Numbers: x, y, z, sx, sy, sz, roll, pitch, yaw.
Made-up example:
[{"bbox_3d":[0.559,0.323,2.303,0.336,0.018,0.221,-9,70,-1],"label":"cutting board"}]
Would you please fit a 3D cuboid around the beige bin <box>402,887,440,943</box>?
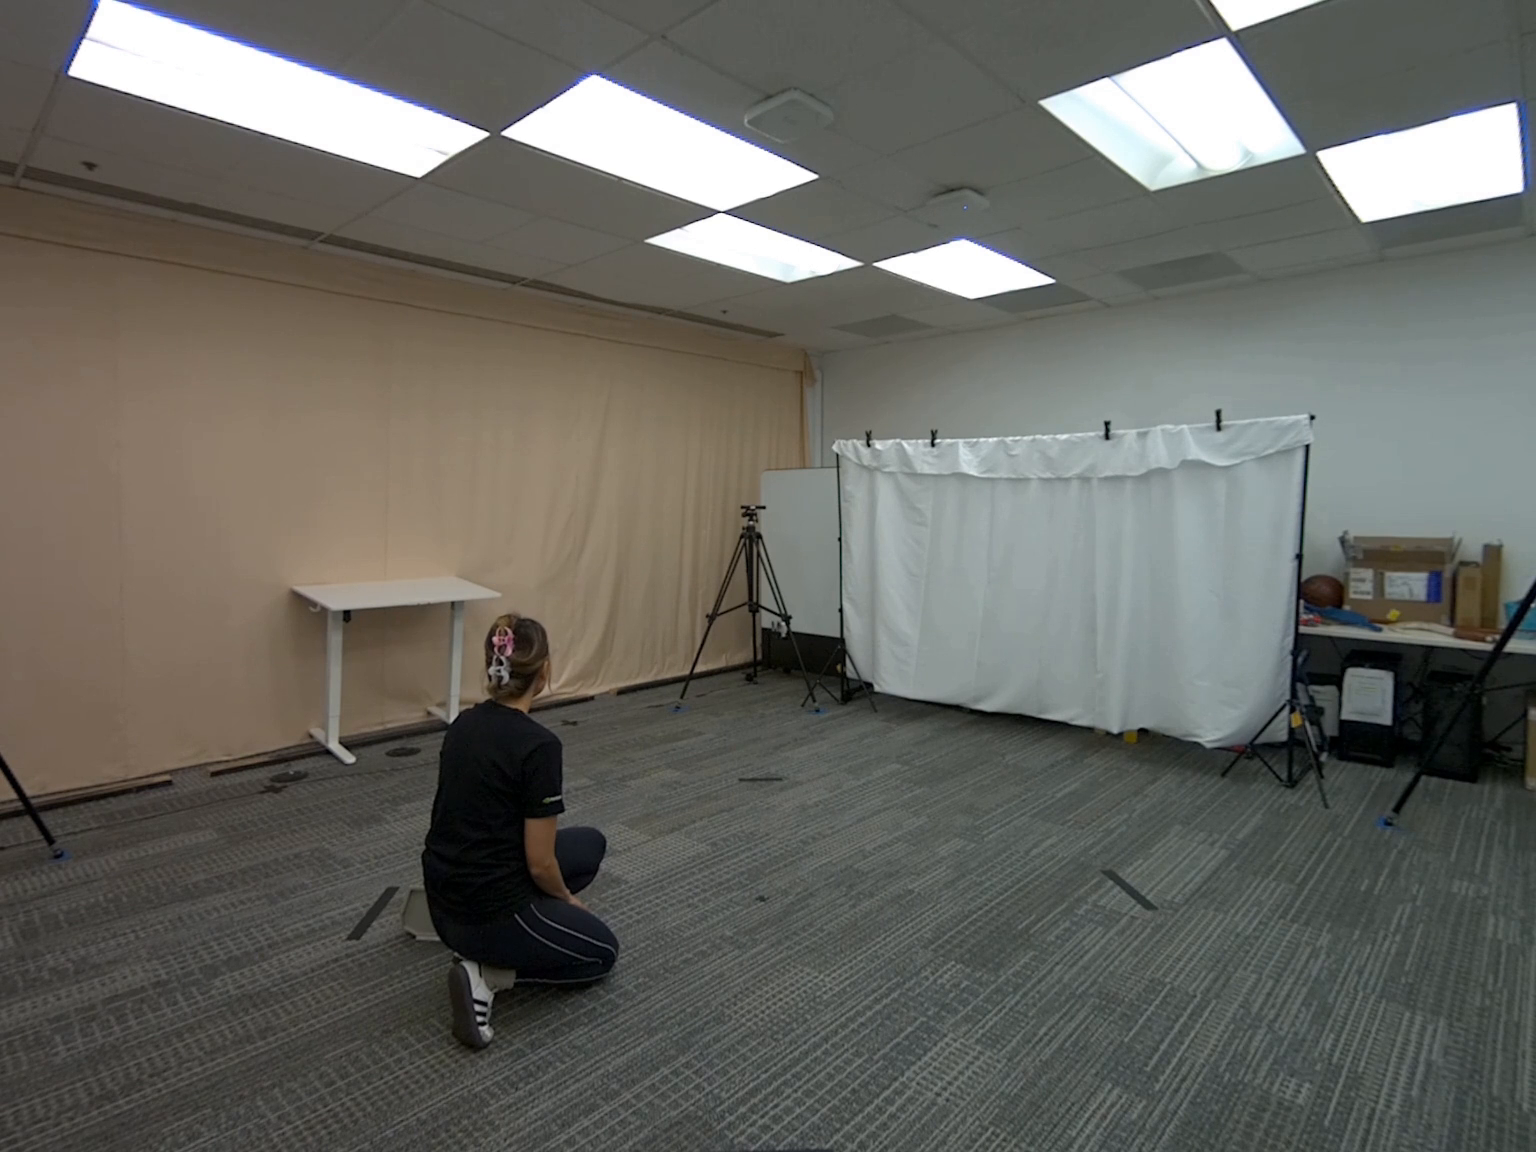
[{"bbox_3d":[-1.003,1.073,2.900,0.379,0.188,0.421,1,4,3],"label":"beige bin"}]
